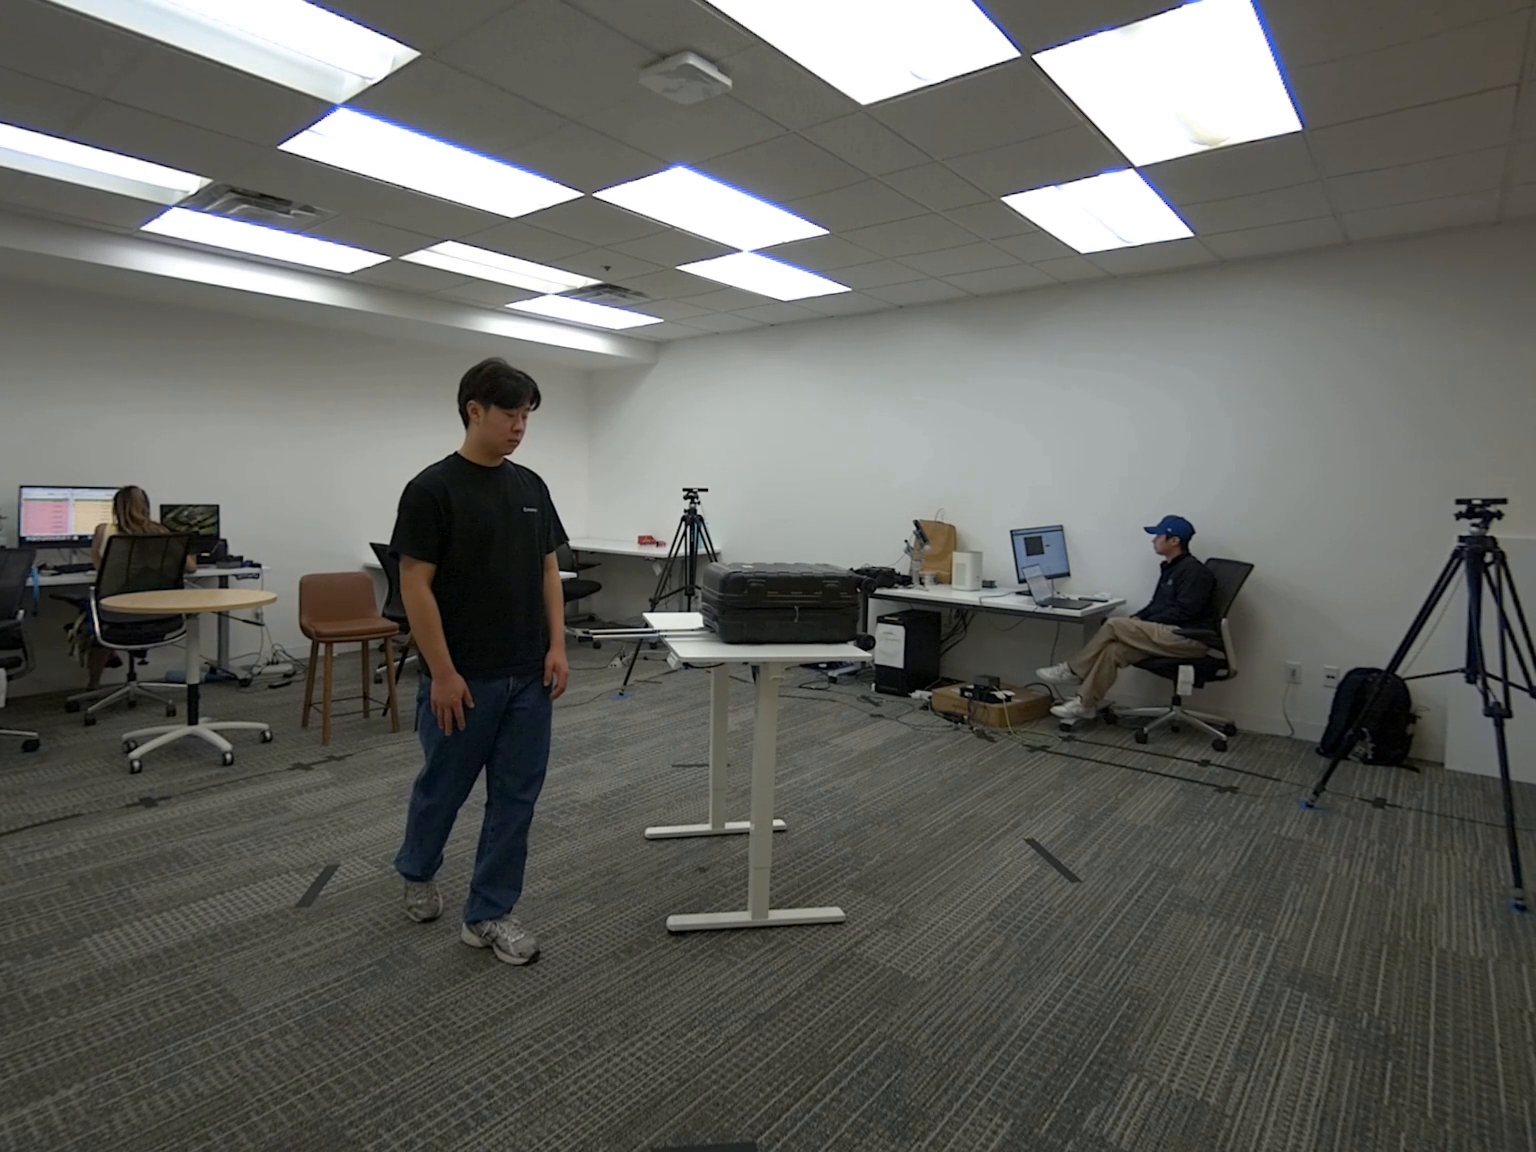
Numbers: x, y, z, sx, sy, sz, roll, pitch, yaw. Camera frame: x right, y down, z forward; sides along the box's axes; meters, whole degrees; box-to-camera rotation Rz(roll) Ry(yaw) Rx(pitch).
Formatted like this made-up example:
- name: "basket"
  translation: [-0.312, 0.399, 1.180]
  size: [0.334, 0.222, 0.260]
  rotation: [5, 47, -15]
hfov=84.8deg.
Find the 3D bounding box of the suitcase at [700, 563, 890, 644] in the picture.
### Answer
- name: "suitcase"
  translation: [-0.153, 0.086, 2.890]
  size: [0.963, 0.256, 0.391]
  rotation: [2, 5, -14]
